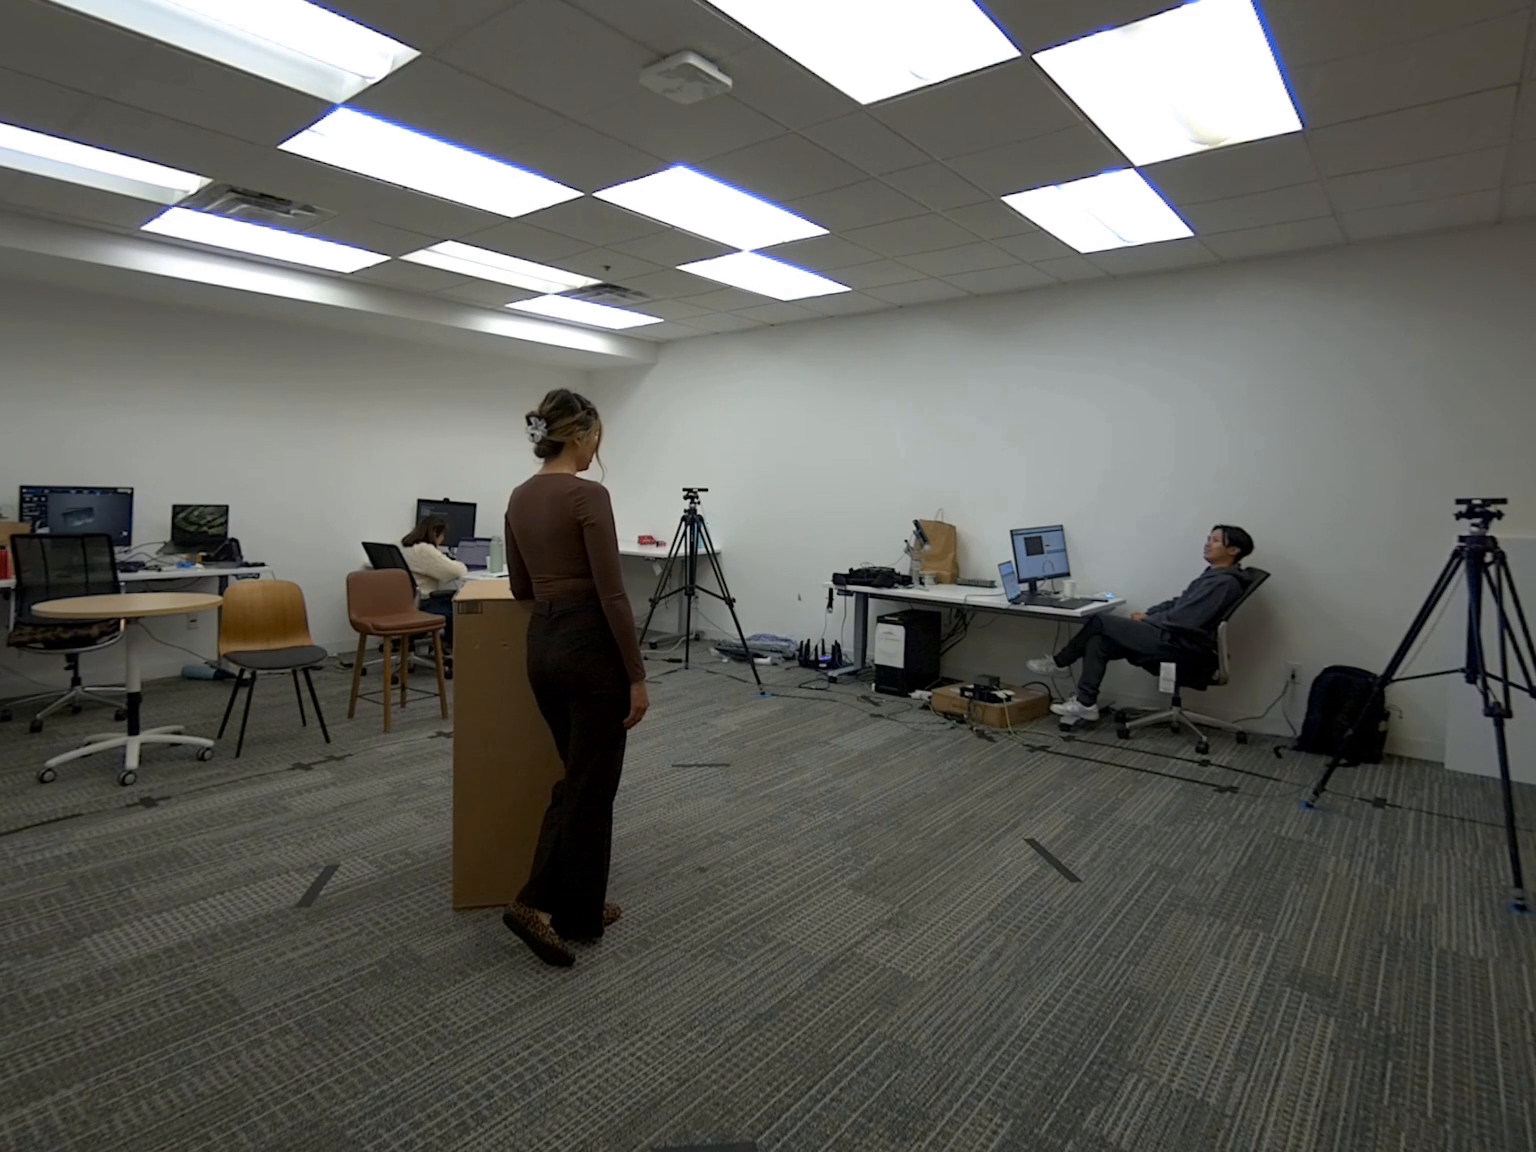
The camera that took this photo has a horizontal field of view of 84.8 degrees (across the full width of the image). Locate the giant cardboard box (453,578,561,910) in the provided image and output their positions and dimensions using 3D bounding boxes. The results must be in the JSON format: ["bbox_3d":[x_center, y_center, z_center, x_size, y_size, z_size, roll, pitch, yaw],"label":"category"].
[{"bbox_3d":[-0.908,0.552,3.079,0.440,1.024,0.594,0,3,-15],"label":"giant cardboard box"}]
